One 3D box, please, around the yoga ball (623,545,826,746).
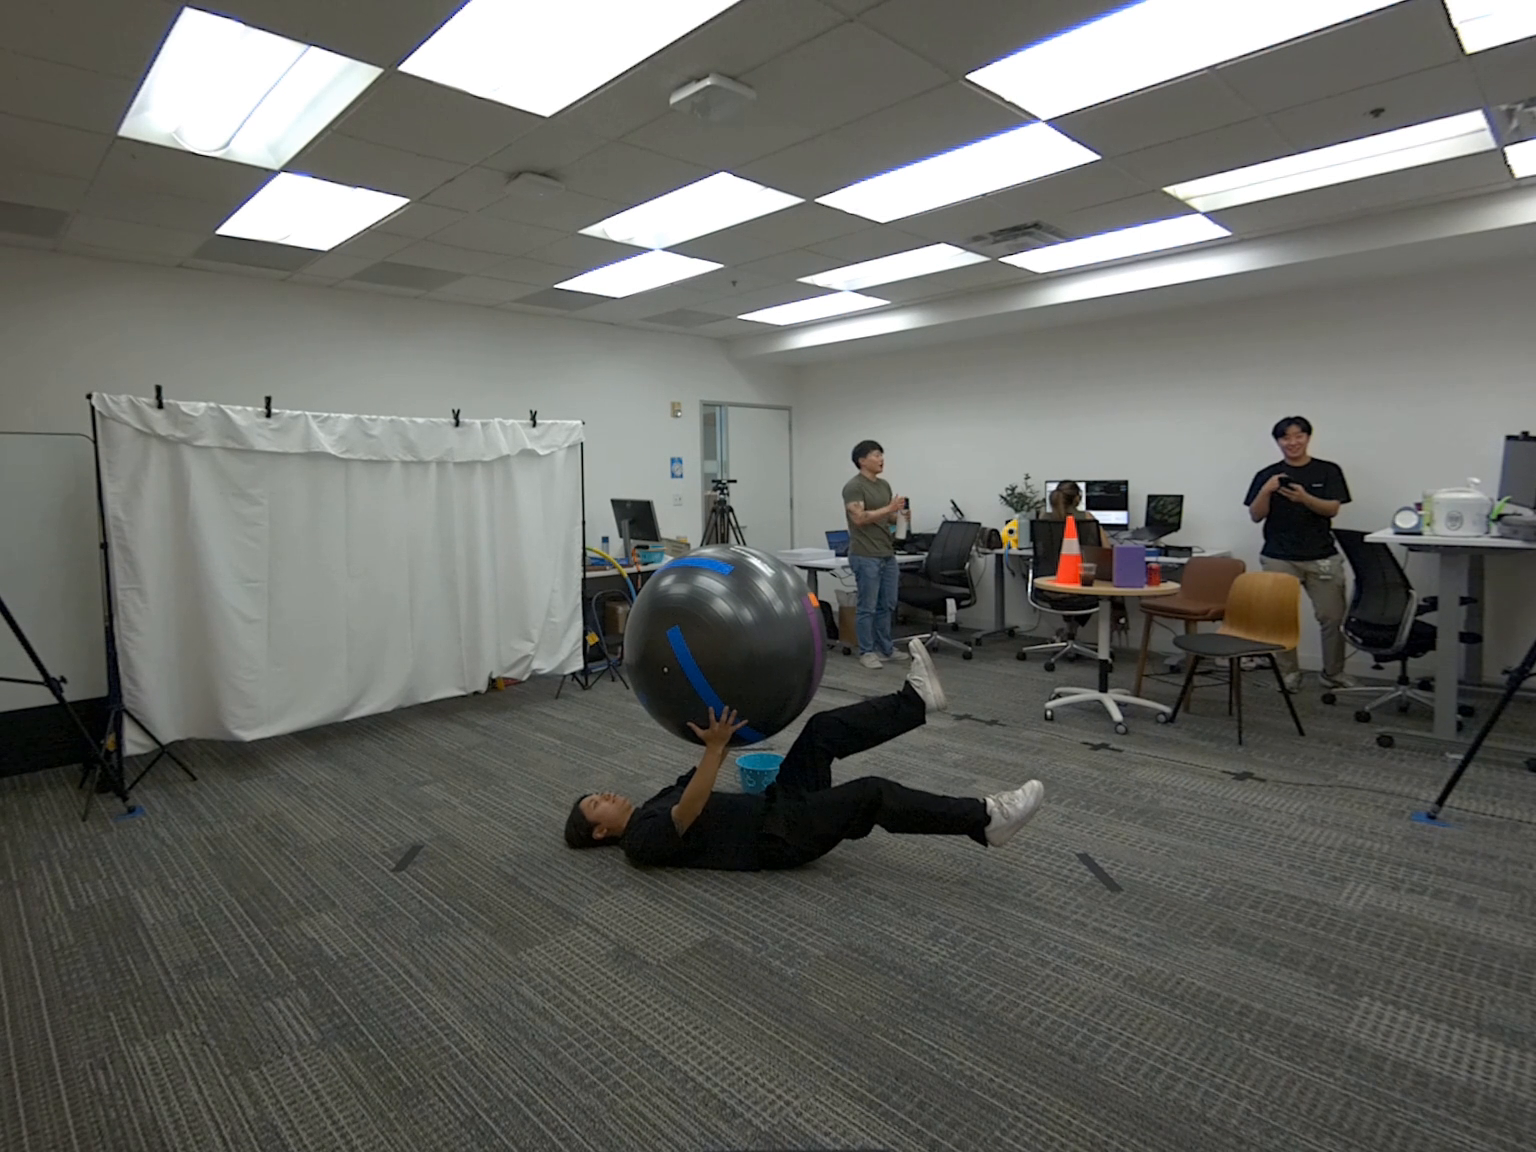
[{"bbox_3d":[-0.164,0.263,3.210,0.757,0.755,0.762,-1,5,-2],"label":"yoga ball"}]
